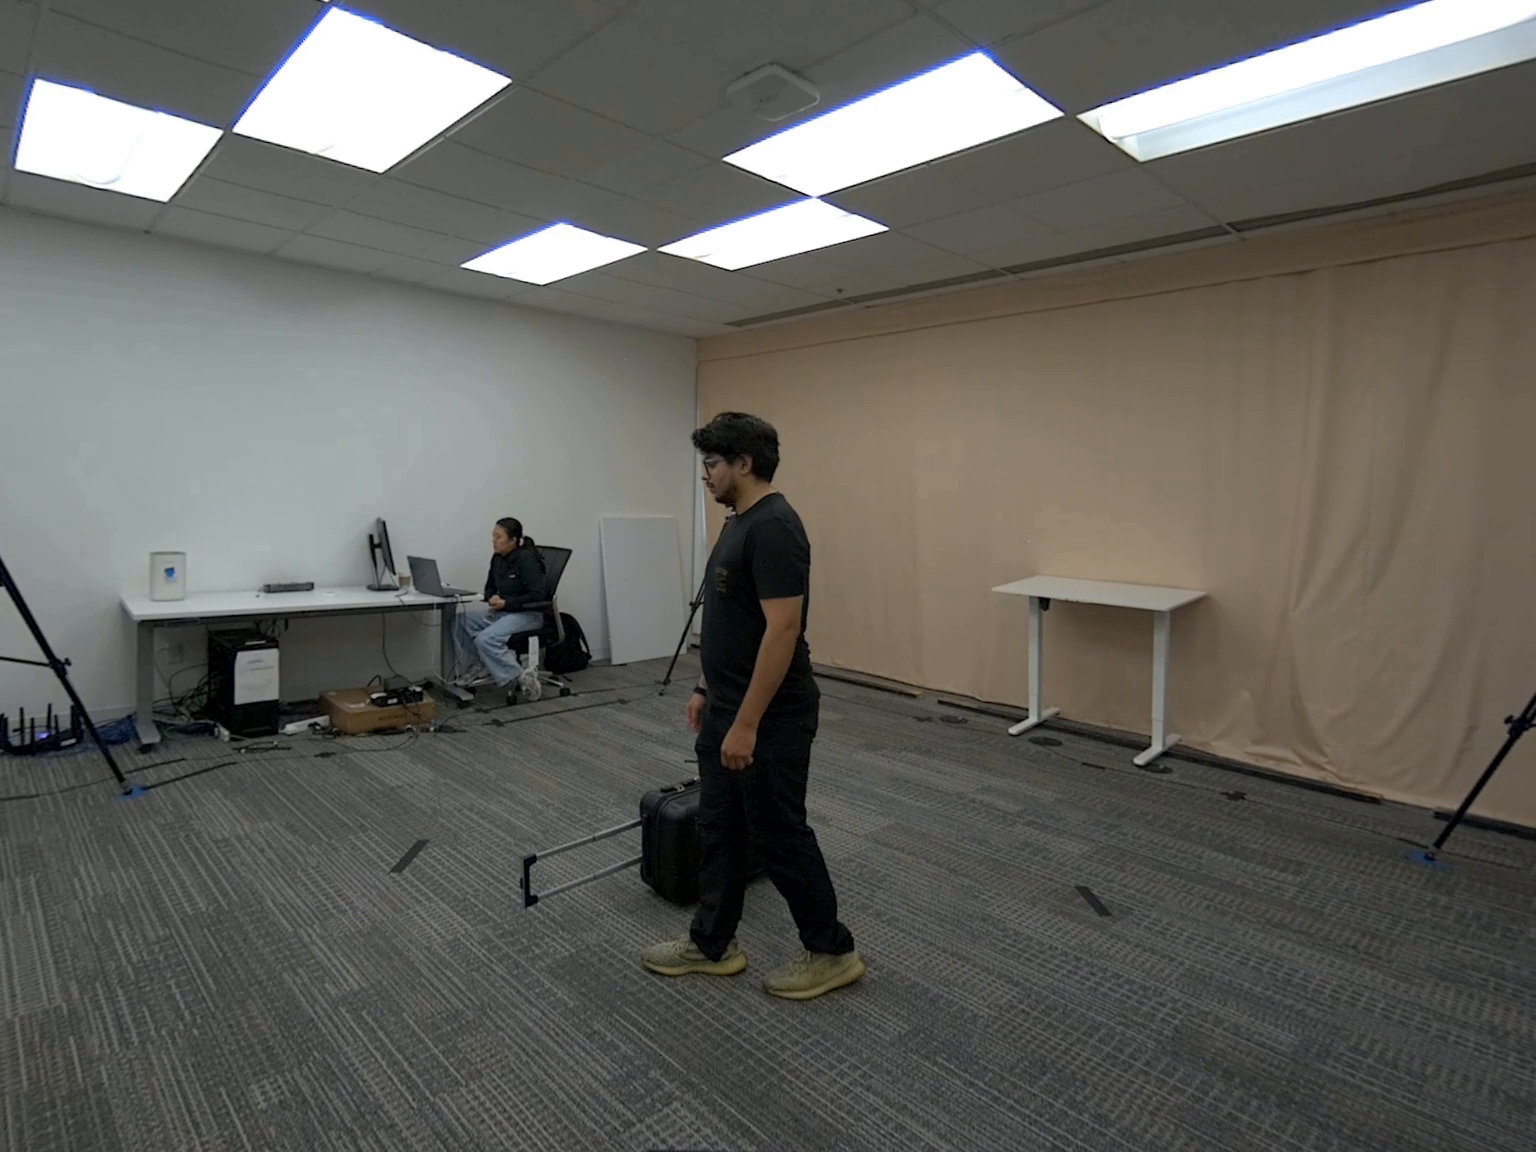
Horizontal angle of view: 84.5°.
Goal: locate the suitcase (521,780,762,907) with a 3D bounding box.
[{"bbox_3d":[-0.350,0.933,2.893,0.264,0.383,0.957,6,7,44],"label":"suitcase"}]
